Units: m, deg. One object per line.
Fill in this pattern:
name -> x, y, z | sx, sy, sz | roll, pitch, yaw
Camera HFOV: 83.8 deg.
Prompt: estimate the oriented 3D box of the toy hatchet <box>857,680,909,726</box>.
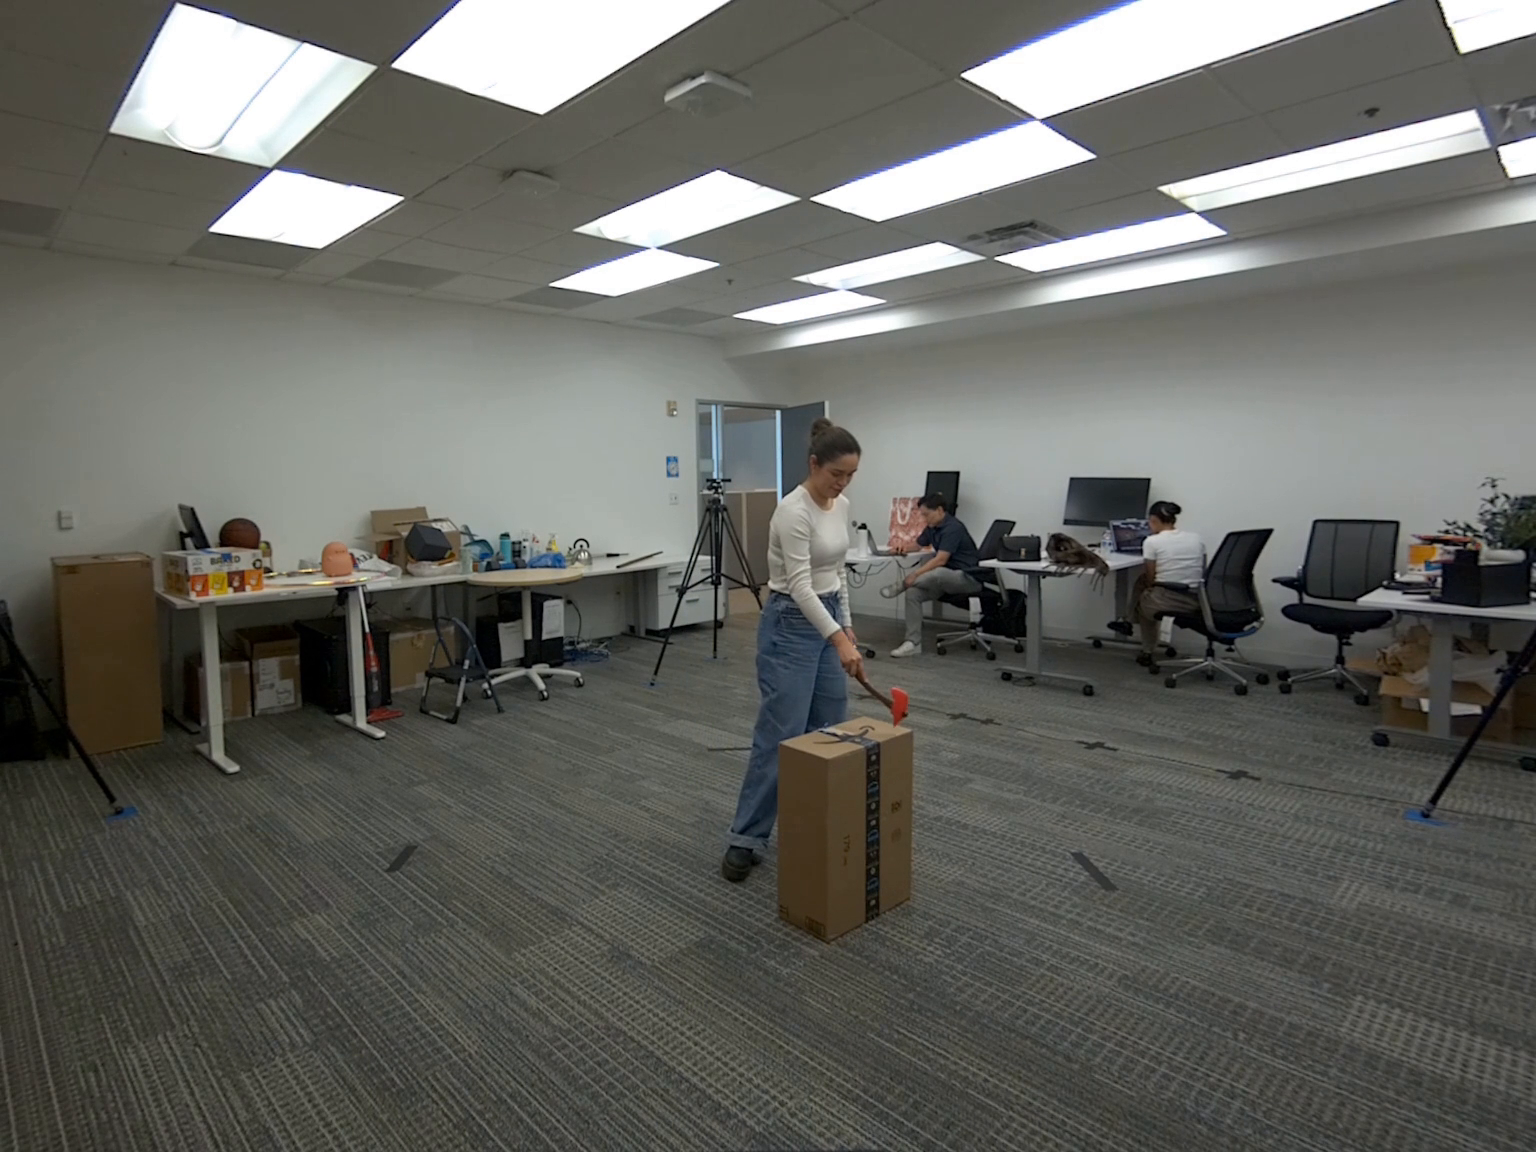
toy hatchet -> 0.357, 0.357, 2.792 | 0.029, 0.129, 0.279 | -13, 54, -38
